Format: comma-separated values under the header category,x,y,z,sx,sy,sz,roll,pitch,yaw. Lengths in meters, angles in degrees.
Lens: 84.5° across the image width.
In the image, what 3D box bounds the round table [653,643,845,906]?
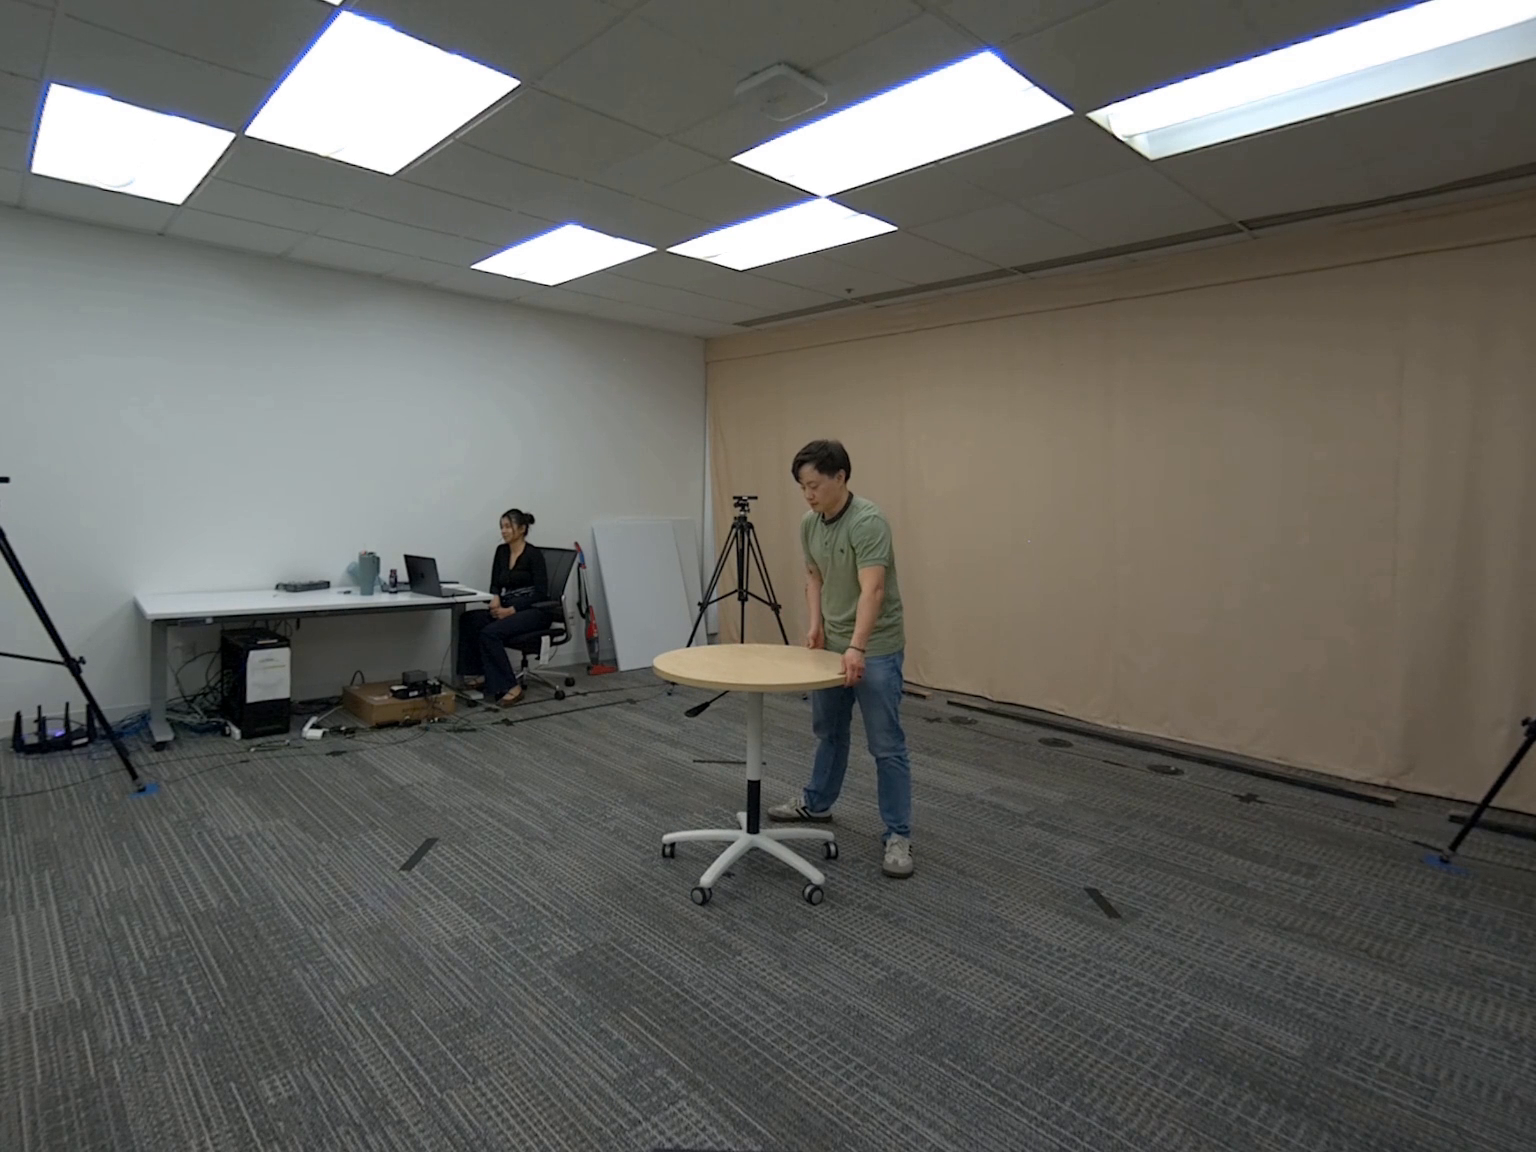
category,x,y,z,sx,sy,sz,roll,pitch,yaw
round table,-0.063,0.714,3.135,0.763,0.792,0.766,1,4,-1
